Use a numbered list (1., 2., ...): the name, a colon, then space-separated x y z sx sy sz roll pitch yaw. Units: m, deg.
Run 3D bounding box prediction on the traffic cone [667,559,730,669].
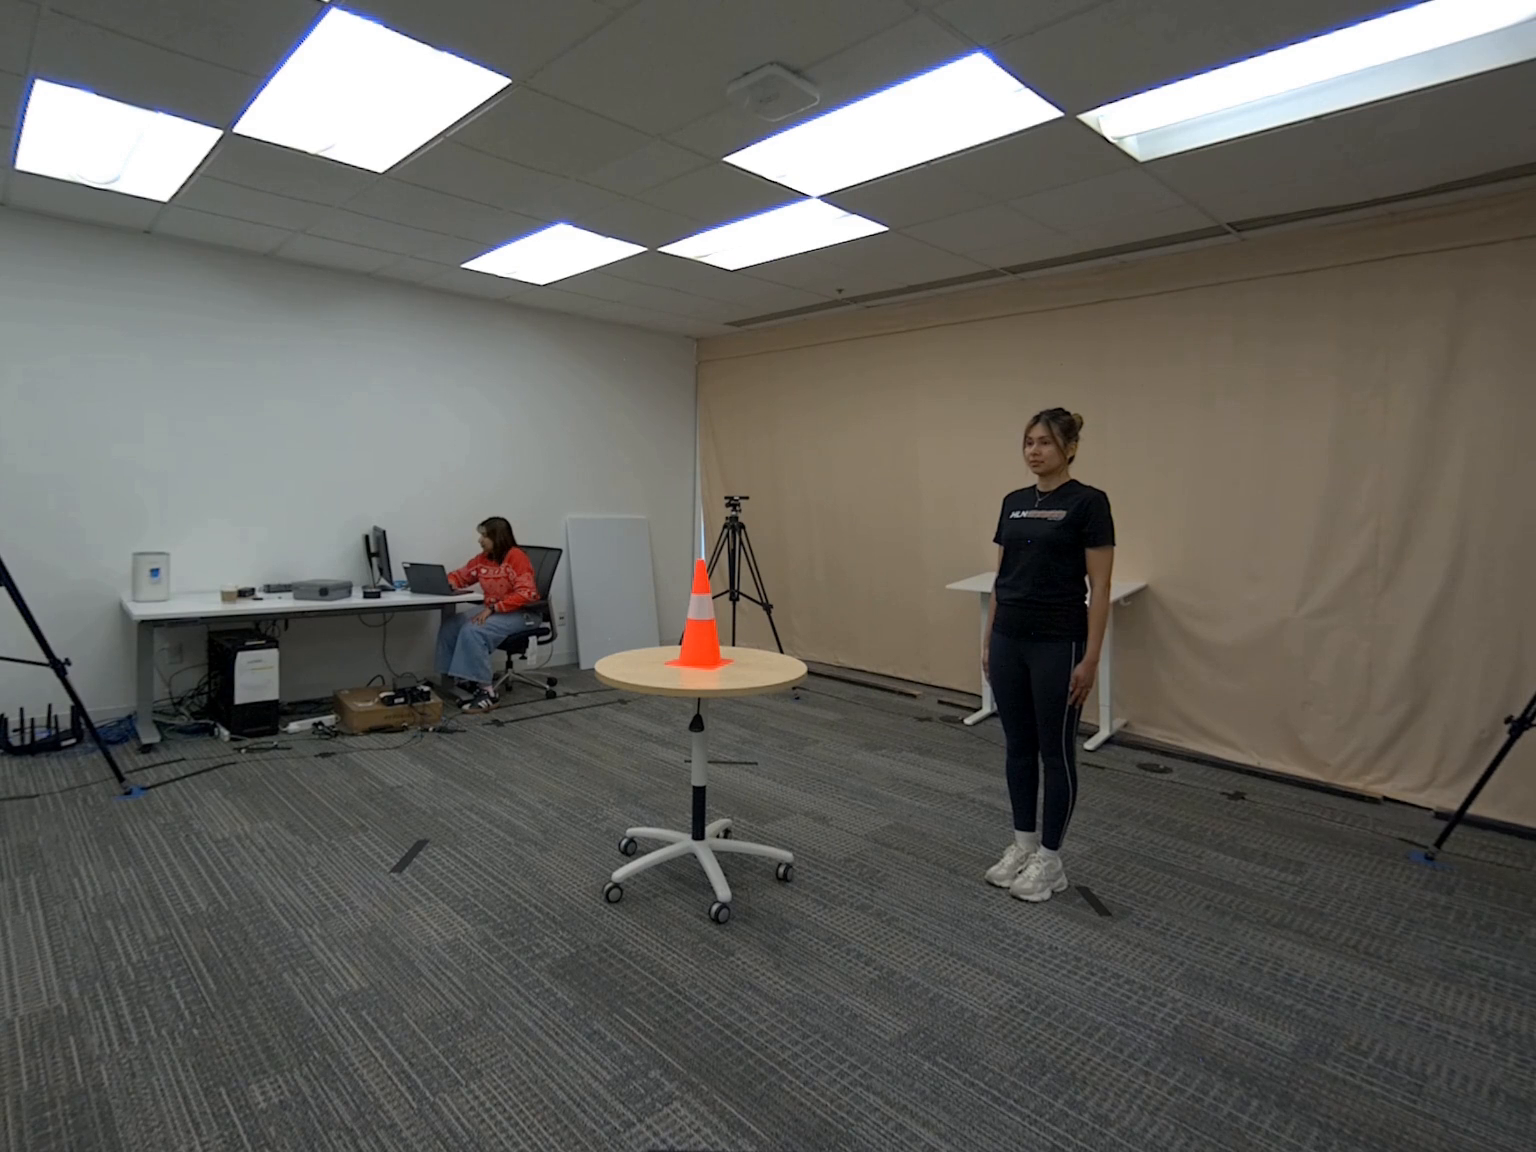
1. traffic cone: -0.249 0.135 3.073 0.209 0.383 0.200 2 3 24
